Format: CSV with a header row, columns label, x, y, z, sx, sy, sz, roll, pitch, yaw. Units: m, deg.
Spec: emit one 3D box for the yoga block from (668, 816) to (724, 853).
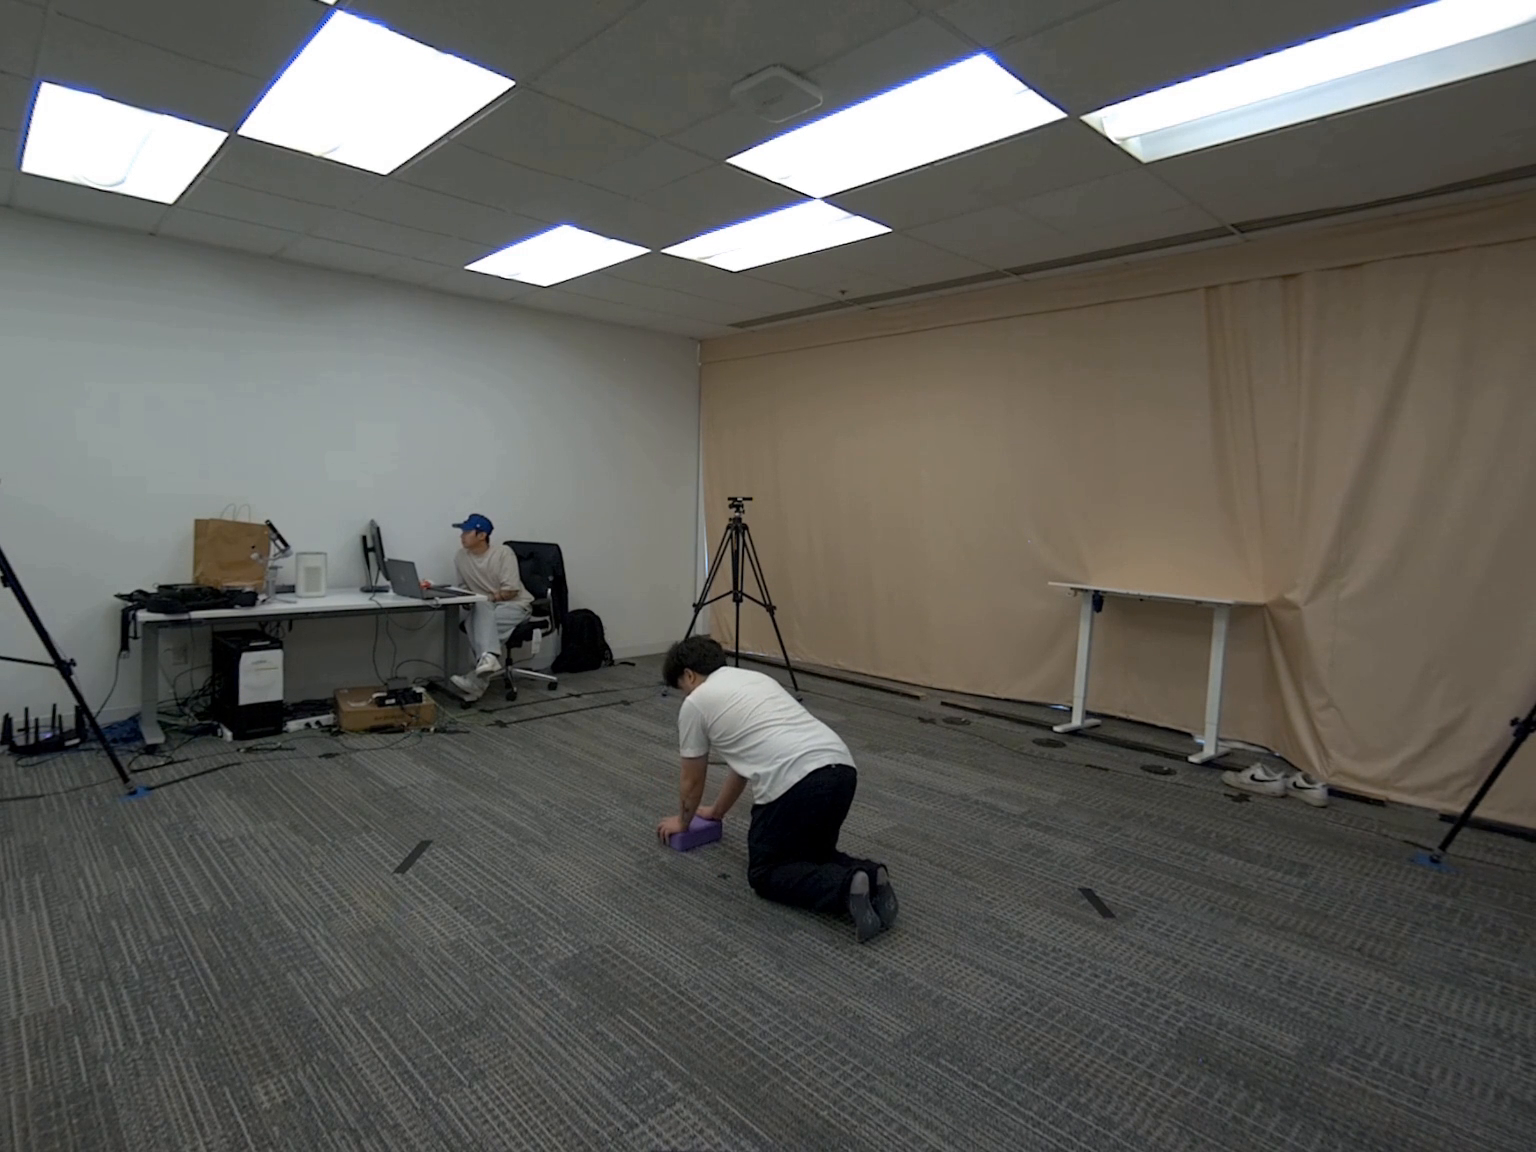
label,x,y,z,sx,sy,sz,roll,pitch,yaw
yoga block,-0.323,1.038,3.423,0.152,0.076,0.224,2,5,44
